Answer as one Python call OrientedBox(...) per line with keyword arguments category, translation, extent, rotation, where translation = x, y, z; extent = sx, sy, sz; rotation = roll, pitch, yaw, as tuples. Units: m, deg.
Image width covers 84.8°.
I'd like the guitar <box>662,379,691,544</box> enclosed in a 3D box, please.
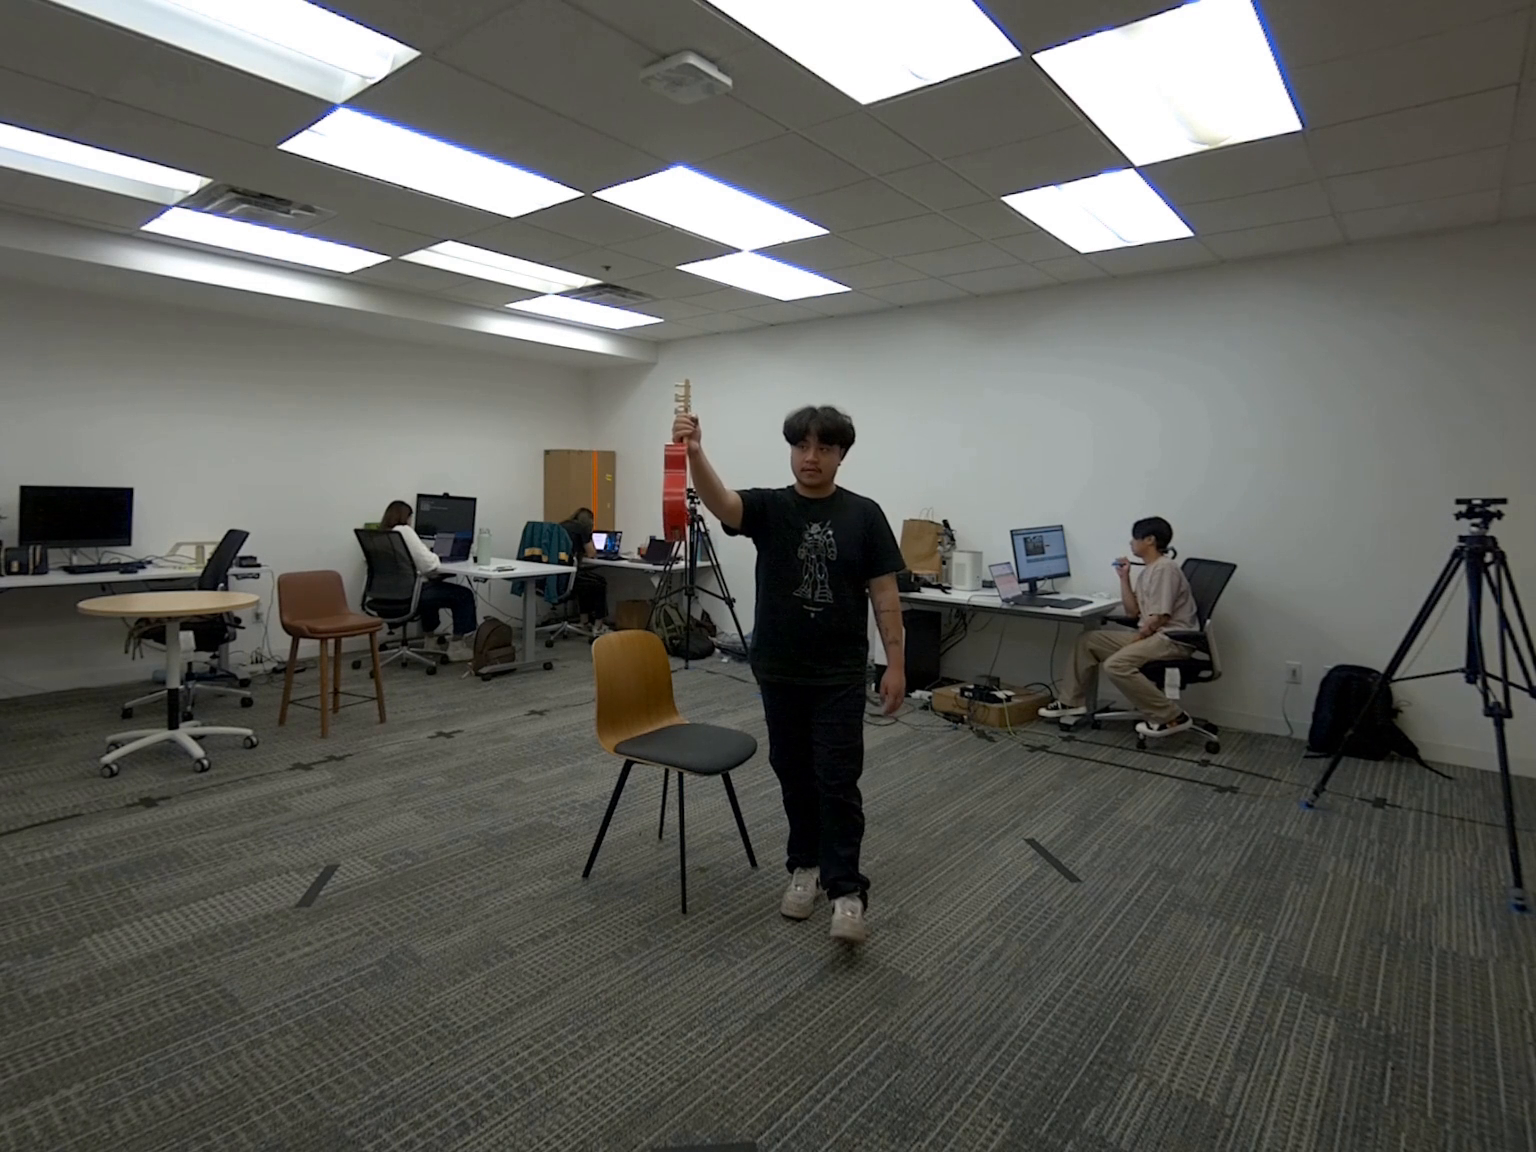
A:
OrientedBox(category="guitar", translation=(-0.260, -0.325, 2.394), extent=(0.070, 0.511, 0.188), rotation=(1, -32, -2))
